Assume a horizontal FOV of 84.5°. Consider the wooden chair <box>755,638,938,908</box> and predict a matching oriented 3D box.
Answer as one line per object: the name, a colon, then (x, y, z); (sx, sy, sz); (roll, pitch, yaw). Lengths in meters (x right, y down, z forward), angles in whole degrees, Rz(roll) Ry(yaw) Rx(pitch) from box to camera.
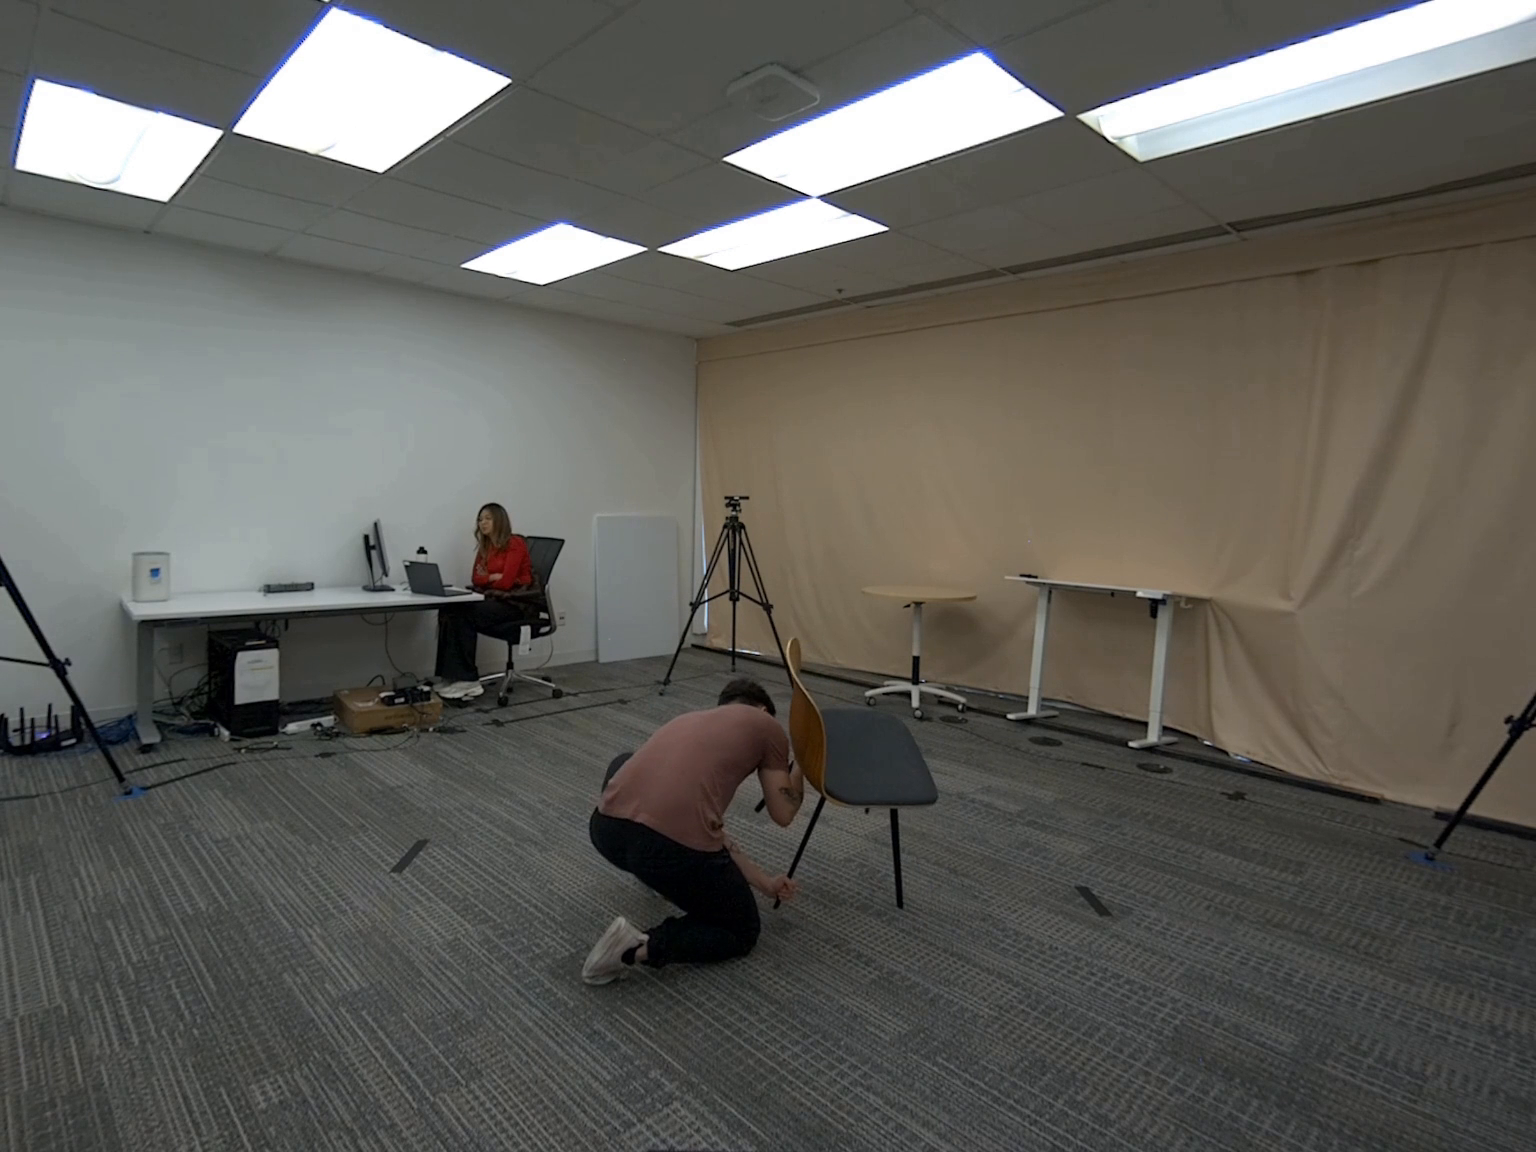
wooden chair: (0.279, 0.653, 2.845); (0.519, 0.863, 0.489); (1, 28, -10)
